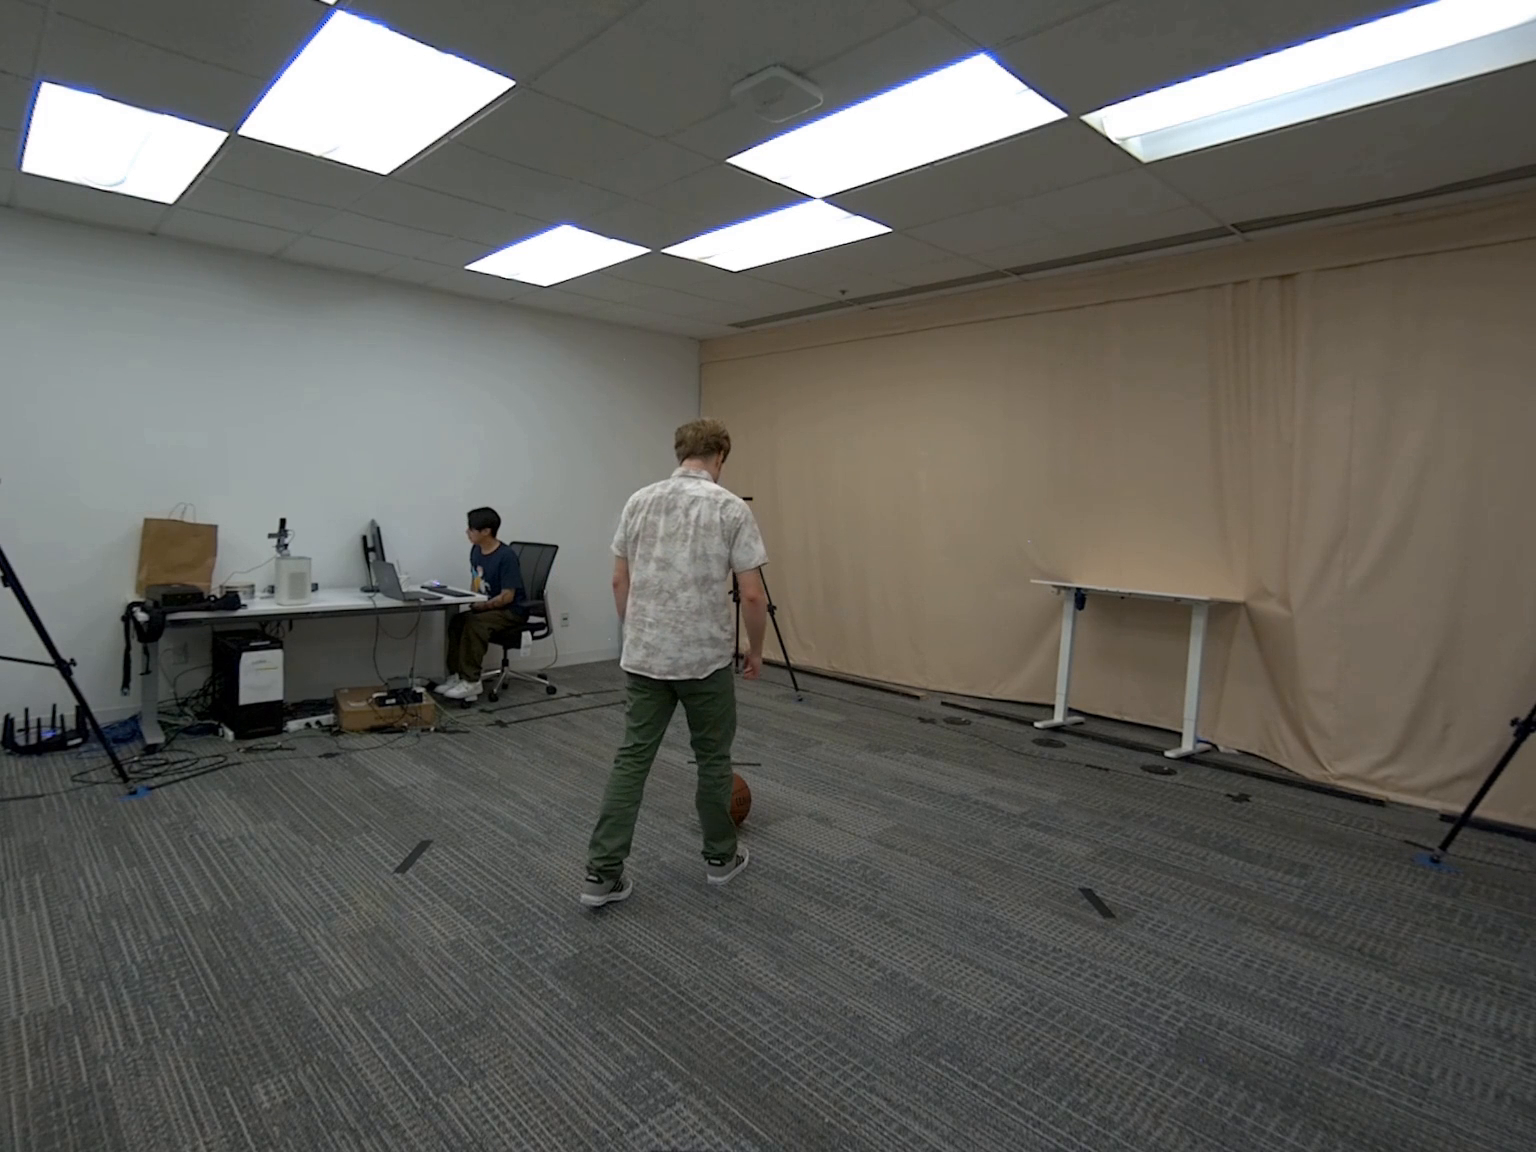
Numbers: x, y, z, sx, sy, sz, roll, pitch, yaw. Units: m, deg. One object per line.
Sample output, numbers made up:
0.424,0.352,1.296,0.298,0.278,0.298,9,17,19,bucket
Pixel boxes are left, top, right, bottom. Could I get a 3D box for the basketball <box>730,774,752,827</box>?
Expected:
-0.194,0.946,3.567,0.236,0.235,0.237,1,4,-1,basketball
